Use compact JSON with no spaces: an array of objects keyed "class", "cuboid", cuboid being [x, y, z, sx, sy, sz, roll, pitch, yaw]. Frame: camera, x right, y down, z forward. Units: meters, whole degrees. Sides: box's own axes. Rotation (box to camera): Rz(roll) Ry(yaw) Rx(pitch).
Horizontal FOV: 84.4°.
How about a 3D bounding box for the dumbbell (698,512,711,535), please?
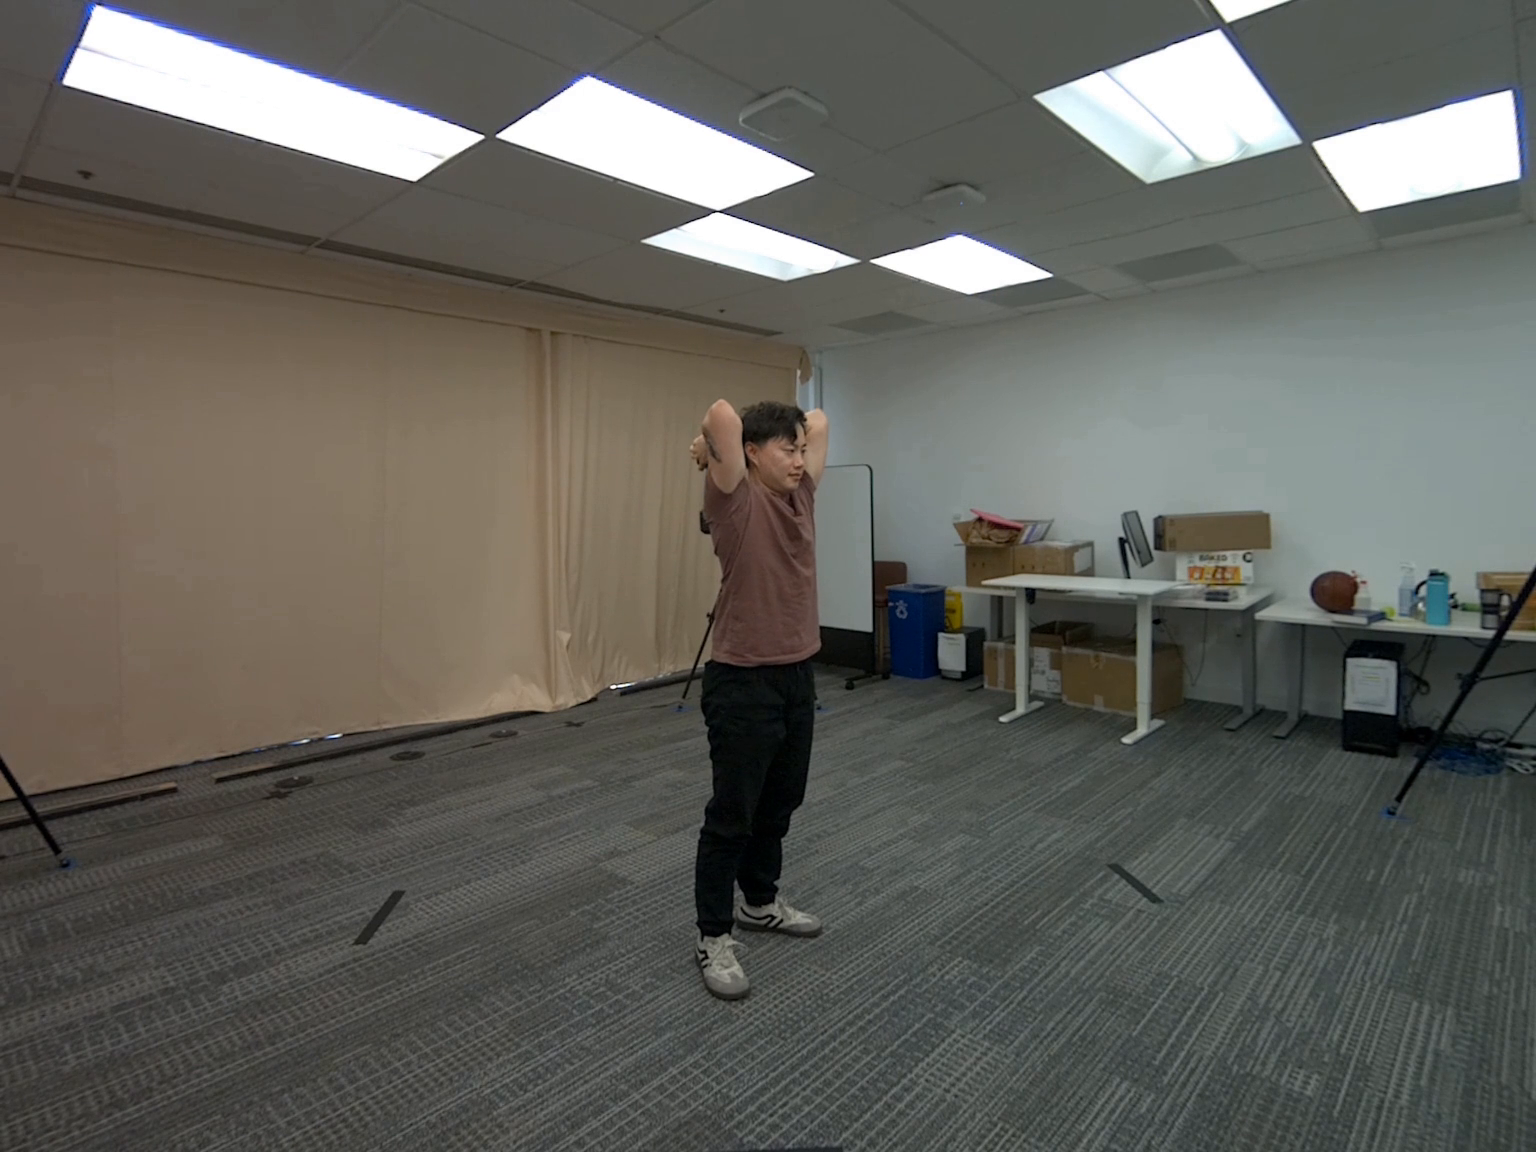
[{"class":"dumbbell","cuboid":[-0.159,-0.291,2.643,0.127,0.294,0.105,-3,-1,41]}]
